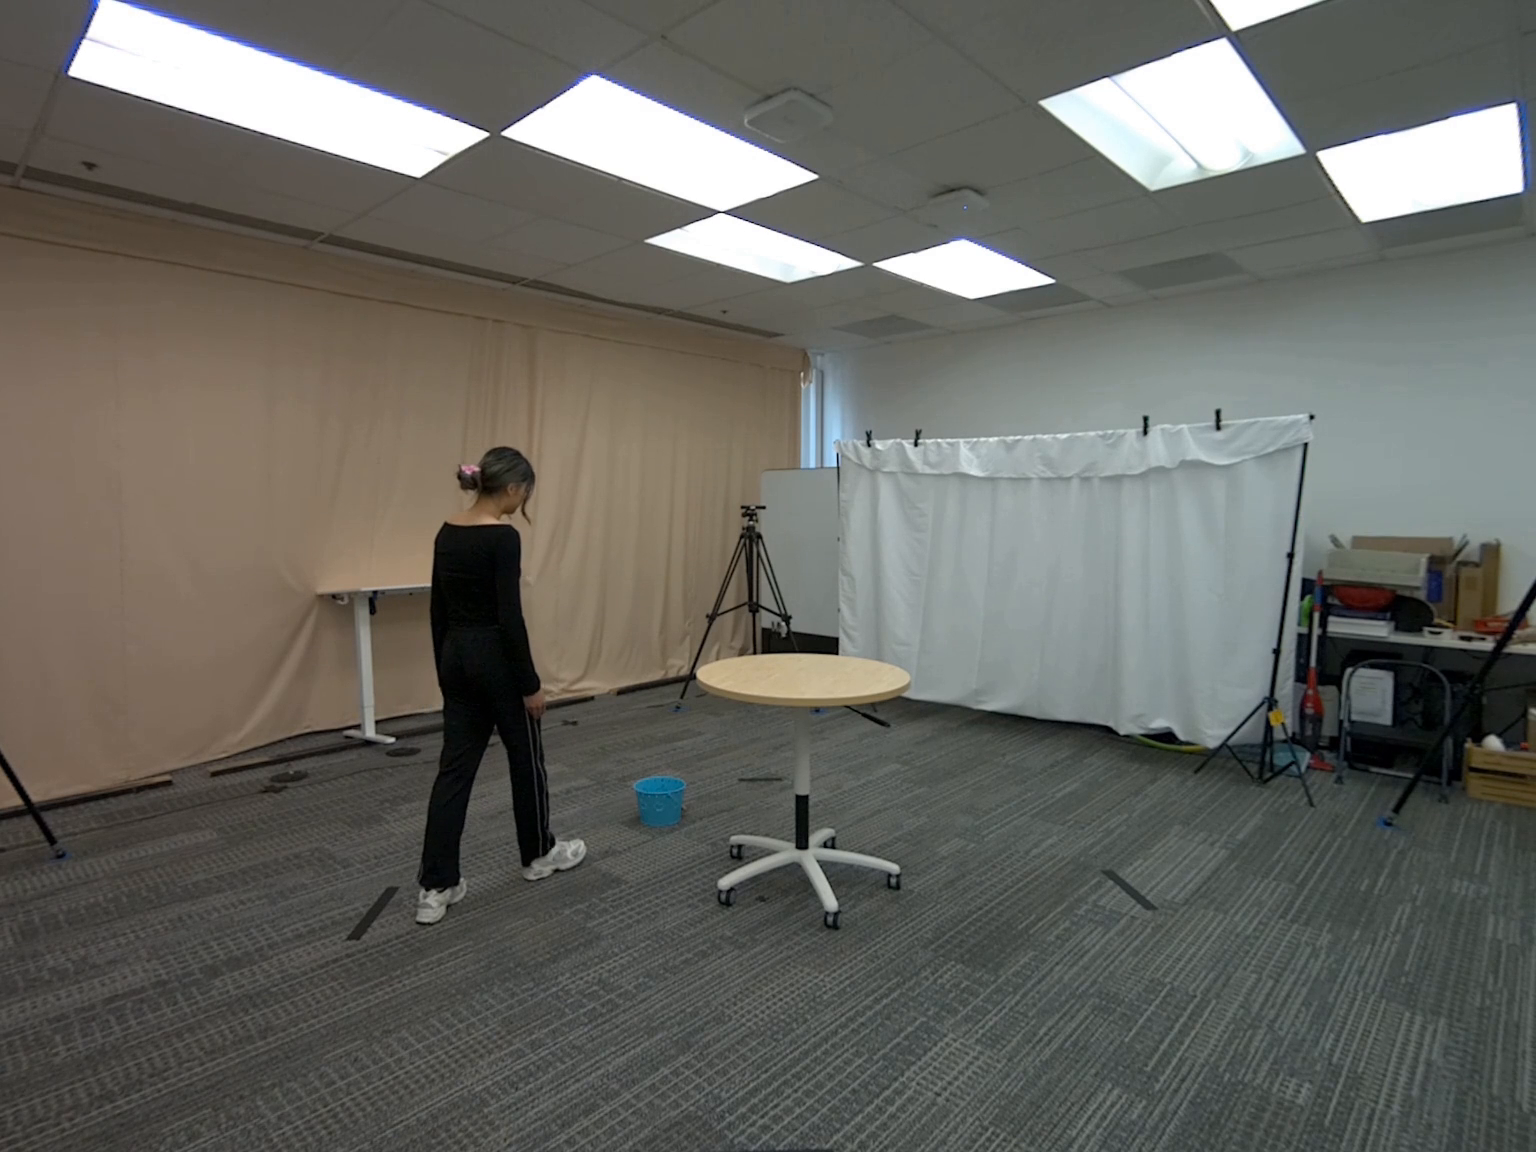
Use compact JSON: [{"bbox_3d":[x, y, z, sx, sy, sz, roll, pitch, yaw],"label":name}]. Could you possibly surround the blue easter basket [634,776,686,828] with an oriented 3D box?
[{"bbox_3d":[-0.478,1.005,3.756,0.243,0.155,0.244,0,5,-2],"label":"blue easter basket"}]
